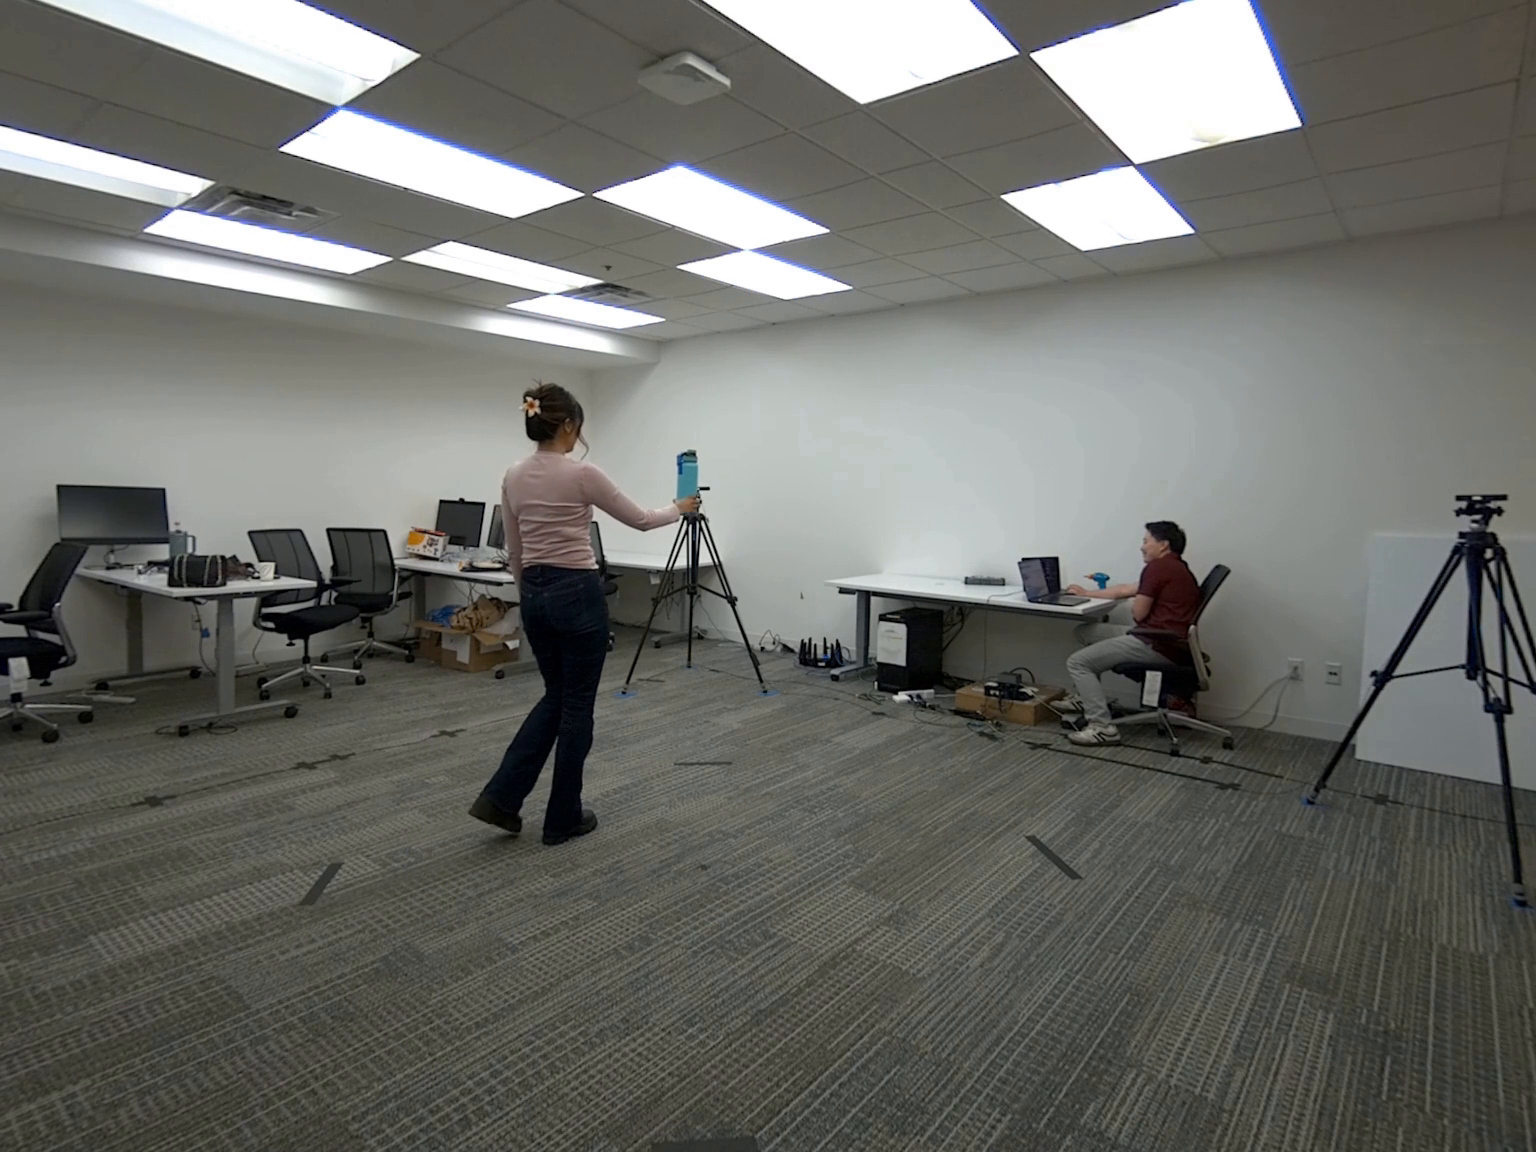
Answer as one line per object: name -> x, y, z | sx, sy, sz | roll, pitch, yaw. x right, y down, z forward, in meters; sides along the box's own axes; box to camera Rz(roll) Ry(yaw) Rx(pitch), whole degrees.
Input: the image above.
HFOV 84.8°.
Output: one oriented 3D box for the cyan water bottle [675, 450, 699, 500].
cyan water bottle -> -0.370, -0.410, 3.661 | 0.092, 0.282, 0.093 | 5, 5, -2
